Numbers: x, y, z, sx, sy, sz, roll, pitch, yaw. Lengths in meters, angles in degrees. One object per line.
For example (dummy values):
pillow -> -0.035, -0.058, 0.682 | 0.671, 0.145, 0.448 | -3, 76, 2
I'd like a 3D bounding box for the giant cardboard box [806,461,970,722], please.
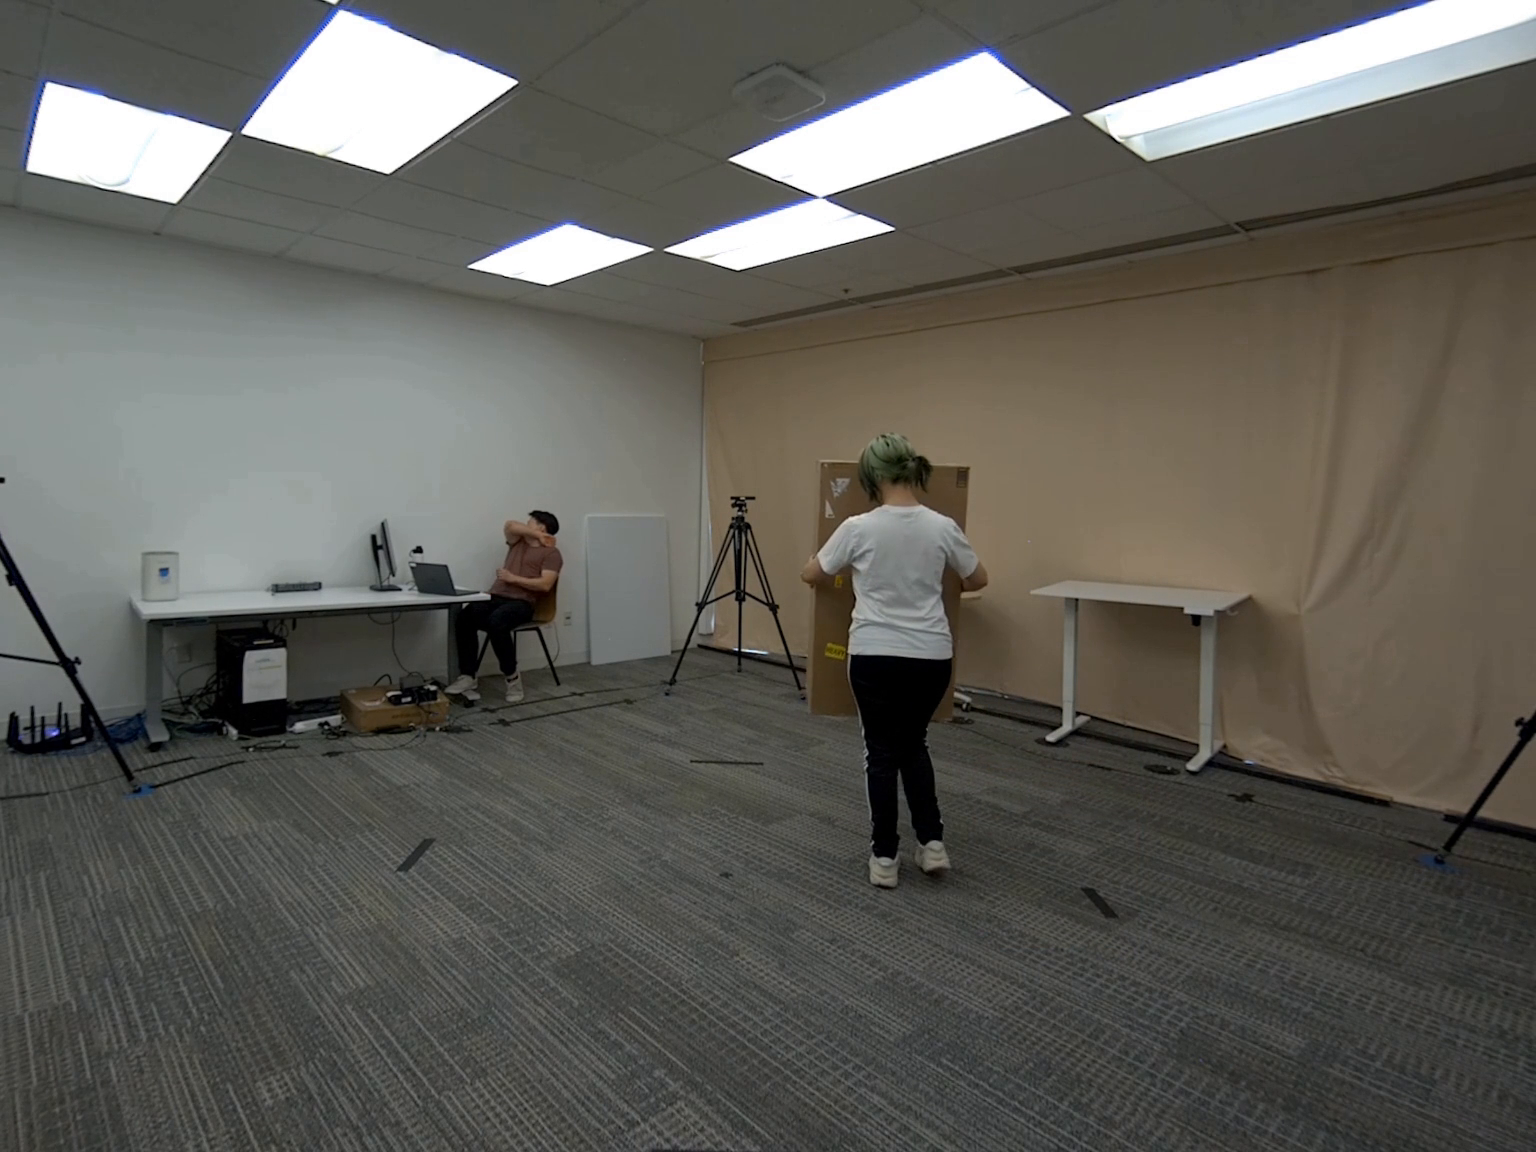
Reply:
giant cardboard box -> 0.474, 0.040, 3.528 | 0.585, 1.022, 0.448 | 2, 7, 1
